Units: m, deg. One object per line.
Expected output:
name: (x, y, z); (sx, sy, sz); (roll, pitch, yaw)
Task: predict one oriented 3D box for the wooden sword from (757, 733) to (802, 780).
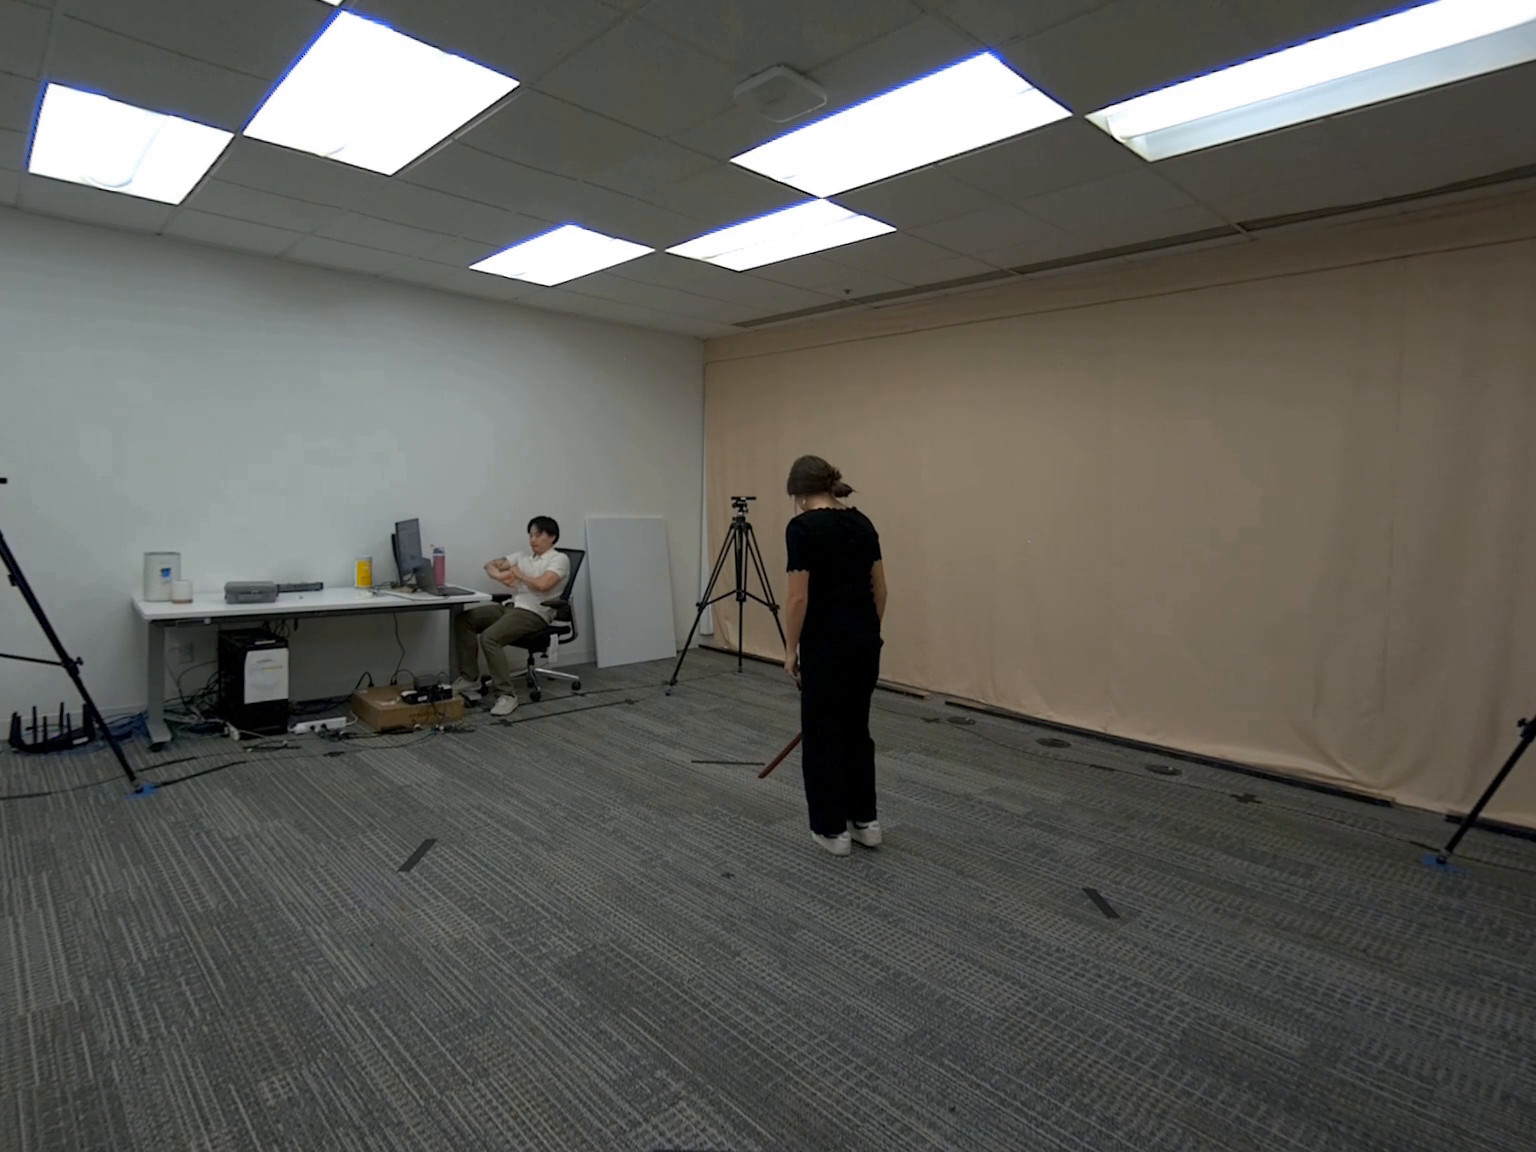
wooden sword: (0.204, 0.647, 3.742); (0.051, 1.023, 0.024); (34, 34, -11)
